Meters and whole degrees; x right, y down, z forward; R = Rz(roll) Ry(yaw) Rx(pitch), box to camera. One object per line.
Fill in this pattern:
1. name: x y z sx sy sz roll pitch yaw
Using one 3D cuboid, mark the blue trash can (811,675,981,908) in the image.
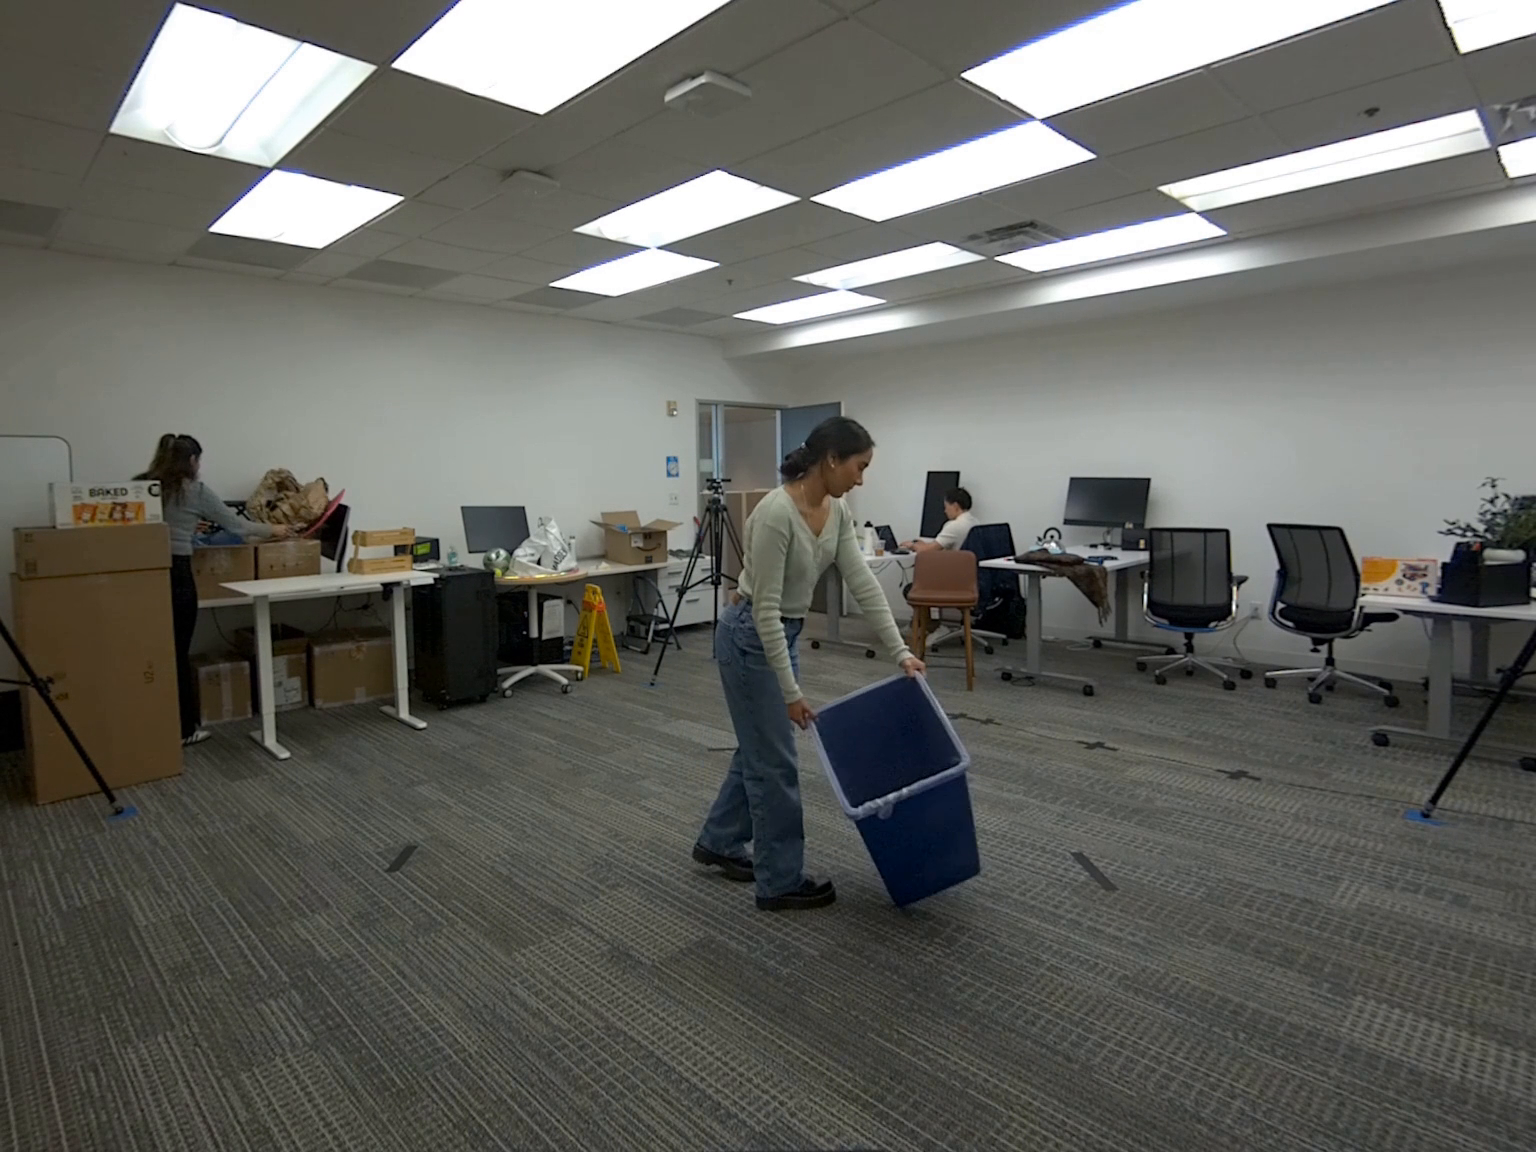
1. blue trash can: 0.415 0.690 2.654 0.378 0.688 0.388 -23 44 -1
